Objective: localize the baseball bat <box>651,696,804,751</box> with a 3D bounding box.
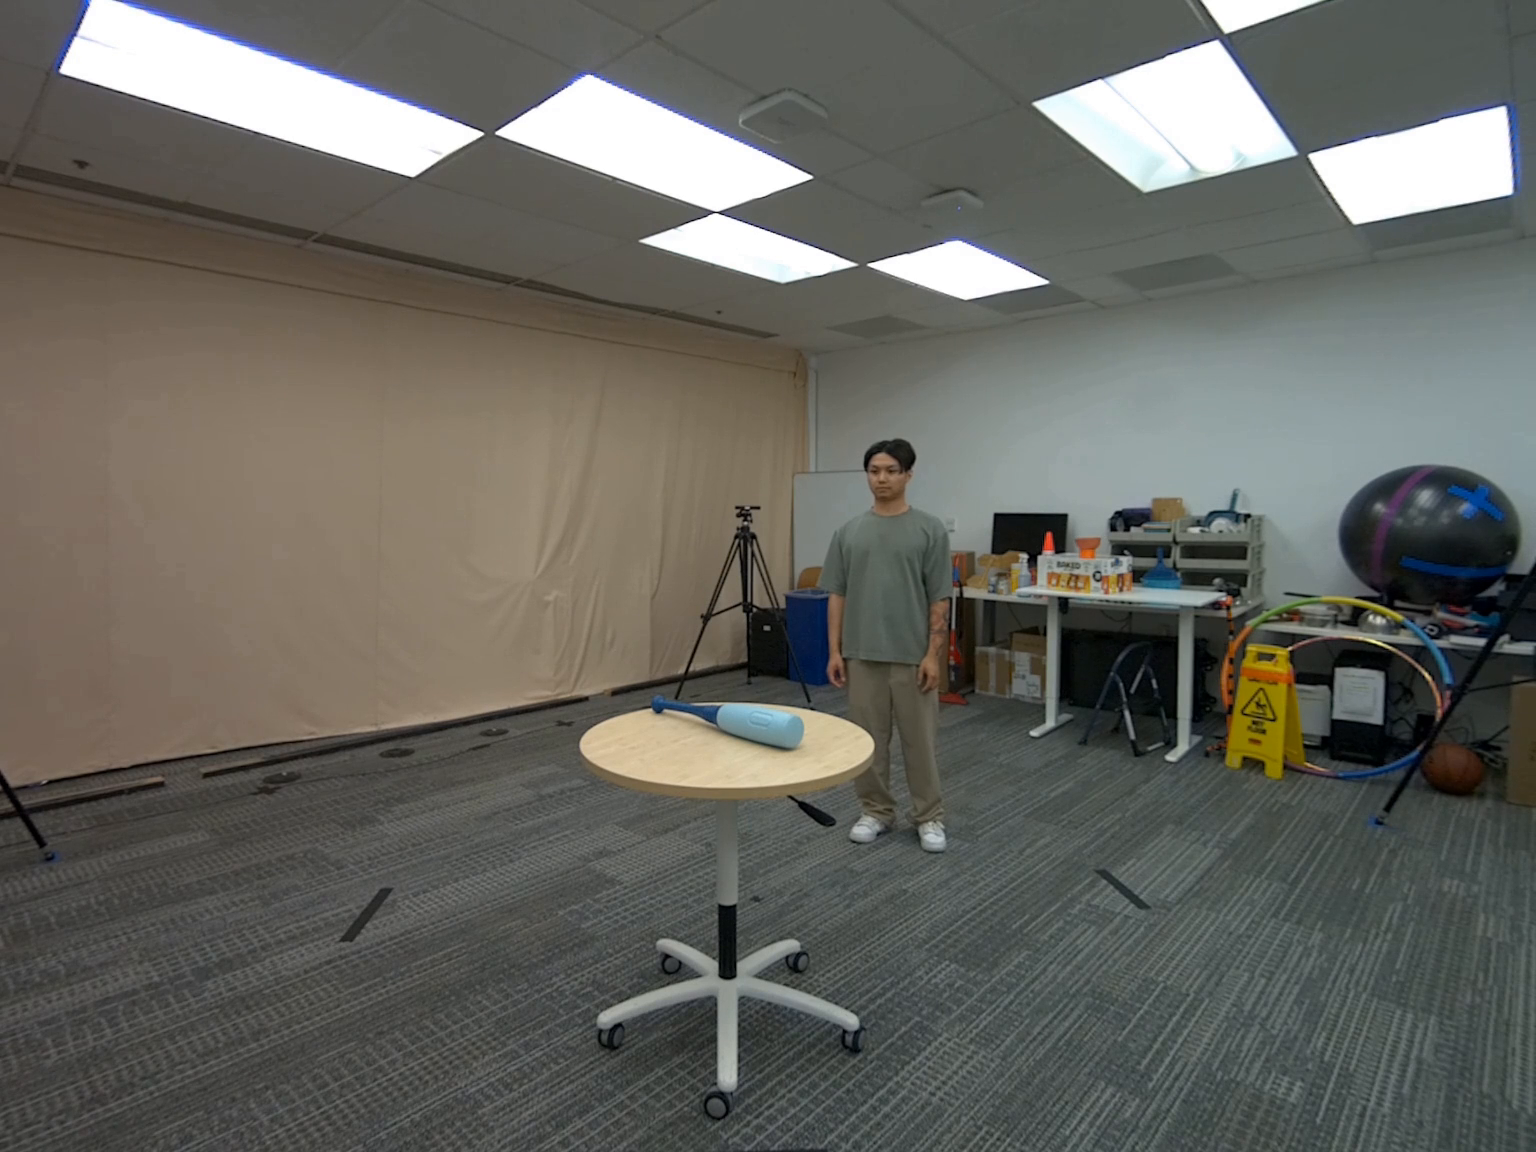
[{"bbox_3d":[-0.123,0.382,2.289,0.561,0.089,0.086,2,4,44],"label":"baseball bat"}]
